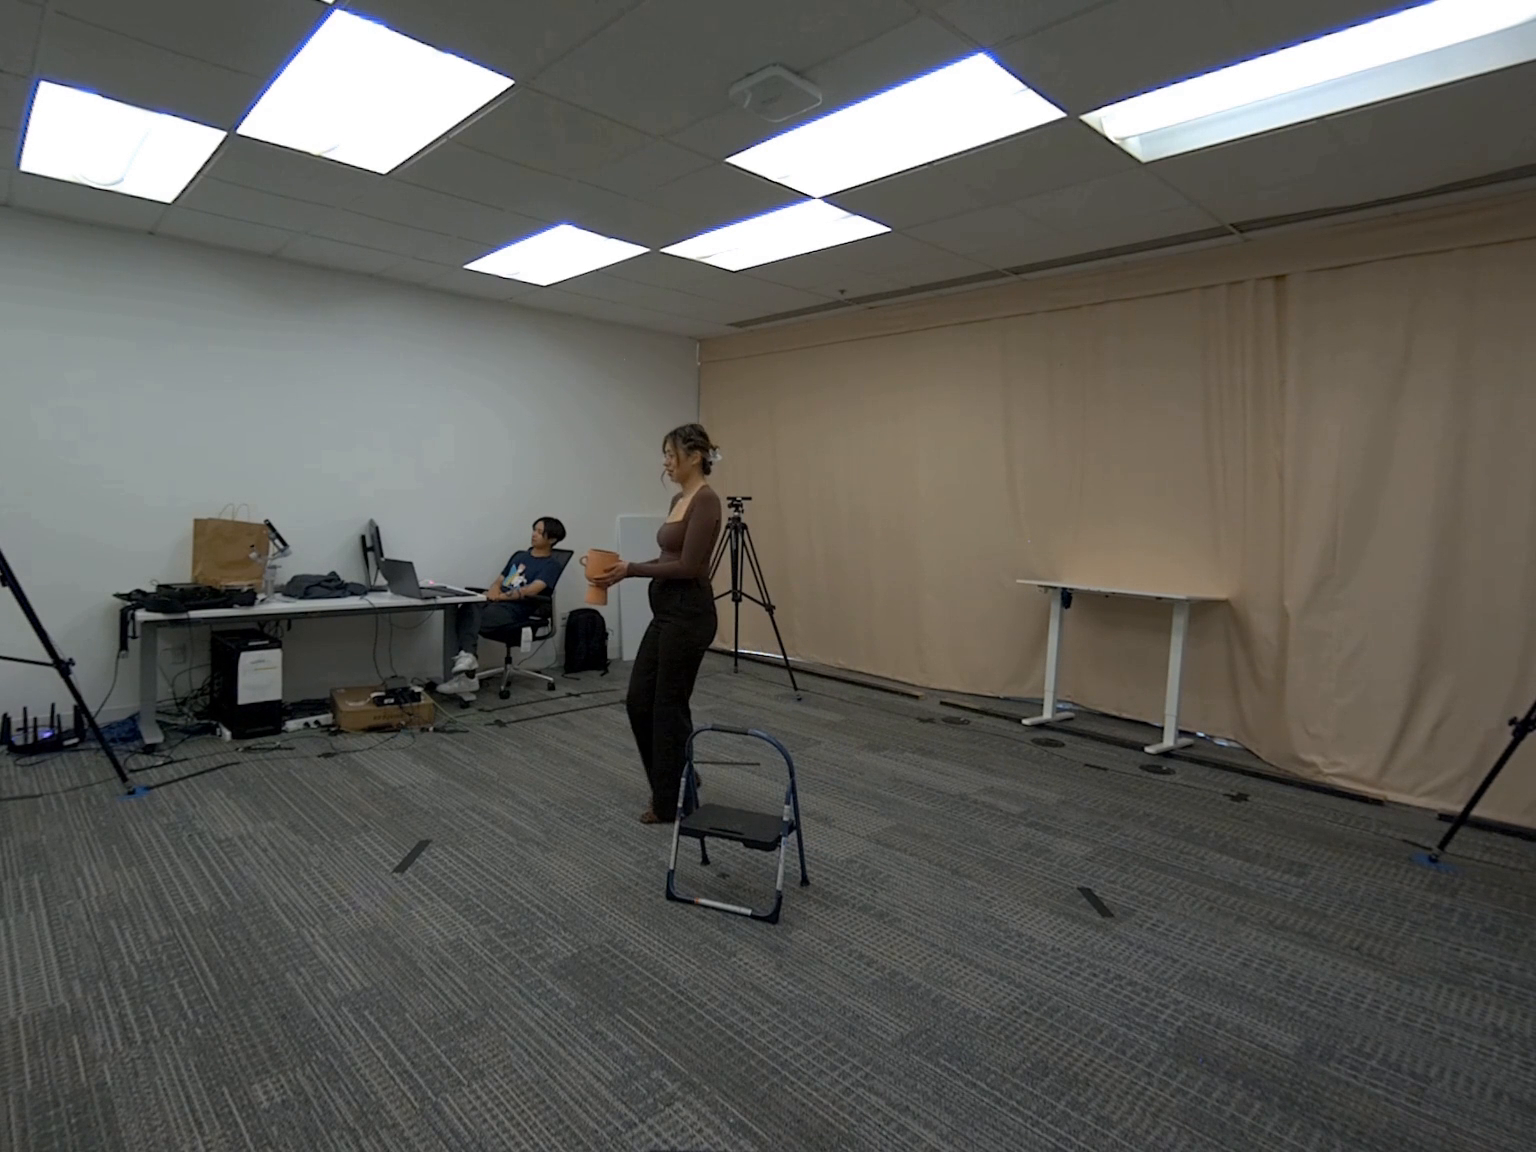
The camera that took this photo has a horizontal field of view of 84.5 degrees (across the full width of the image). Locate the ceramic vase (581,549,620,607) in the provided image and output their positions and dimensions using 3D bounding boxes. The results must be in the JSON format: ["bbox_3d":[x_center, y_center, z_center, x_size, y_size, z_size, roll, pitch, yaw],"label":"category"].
[{"bbox_3d":[-0.709,0.006,3.506,0.161,0.219,0.133,8,1,14],"label":"ceramic vase"}]
